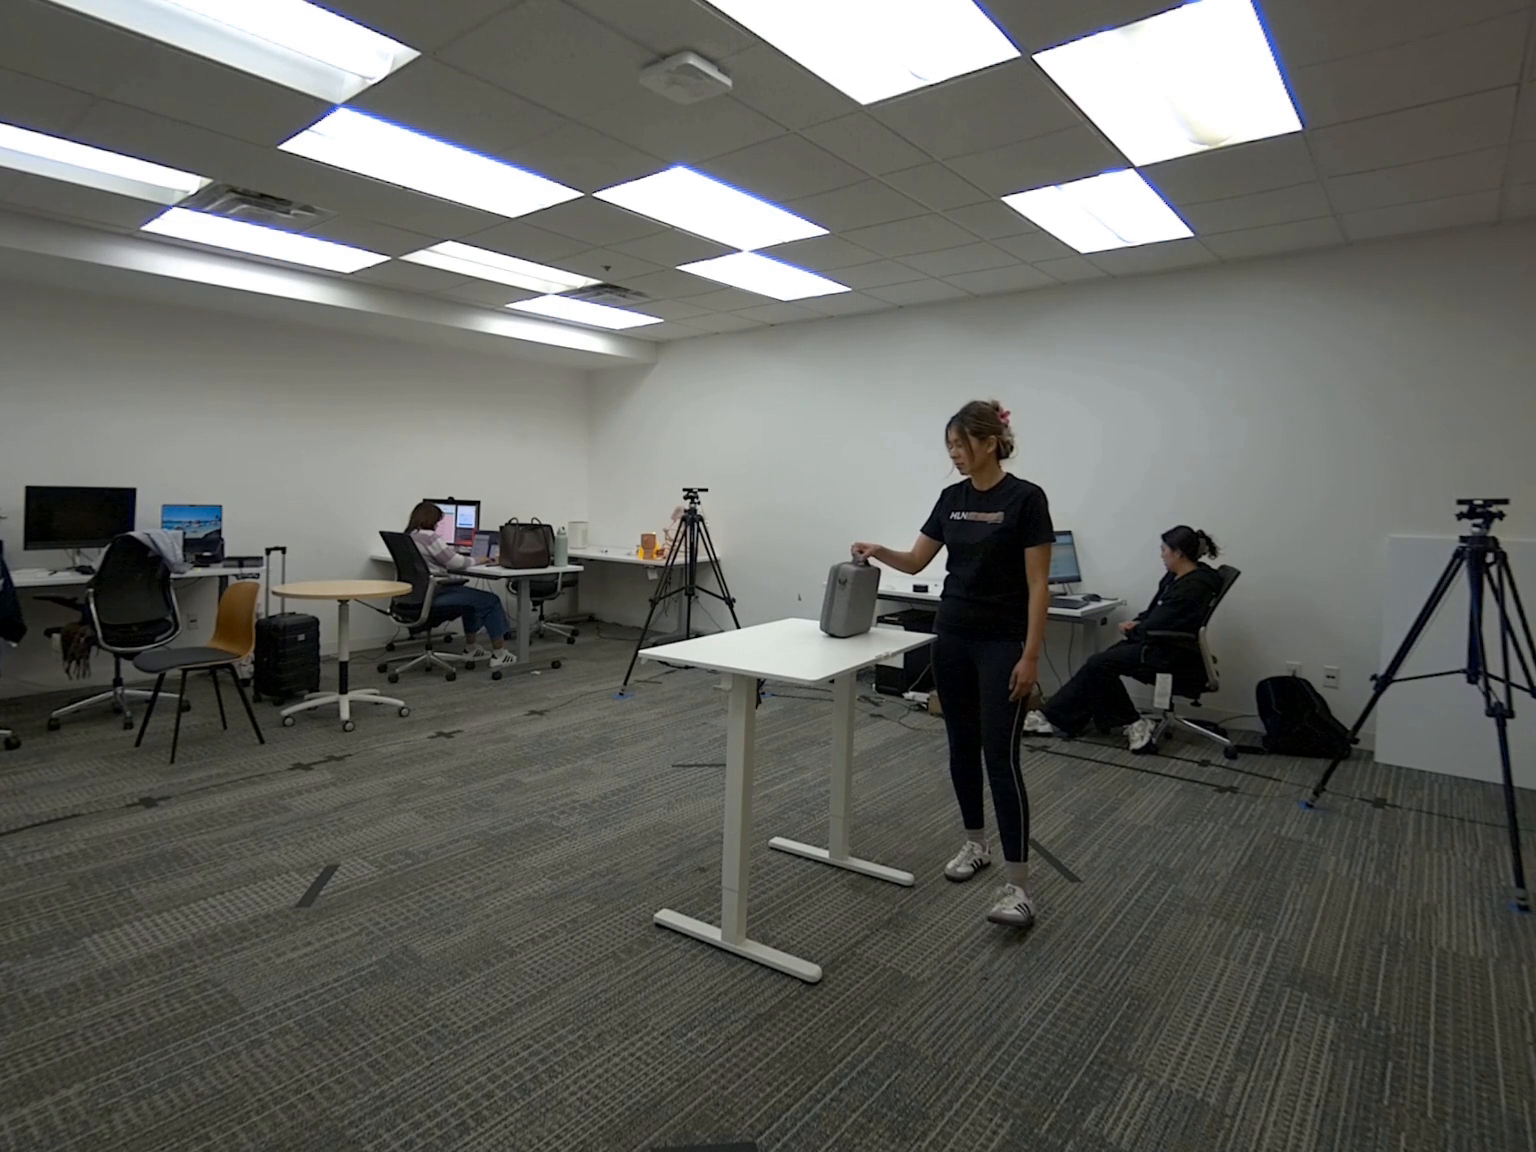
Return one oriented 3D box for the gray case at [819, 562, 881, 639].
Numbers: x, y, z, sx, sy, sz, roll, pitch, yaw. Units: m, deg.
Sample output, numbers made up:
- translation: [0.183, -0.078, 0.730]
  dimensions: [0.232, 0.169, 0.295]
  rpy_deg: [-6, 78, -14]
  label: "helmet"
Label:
- translation: [0.287, 0.072, 3.050]
  dimensions: [0.108, 0.259, 0.250]
  rpy_deg: [11, 8, 30]
  label: "gray case"
